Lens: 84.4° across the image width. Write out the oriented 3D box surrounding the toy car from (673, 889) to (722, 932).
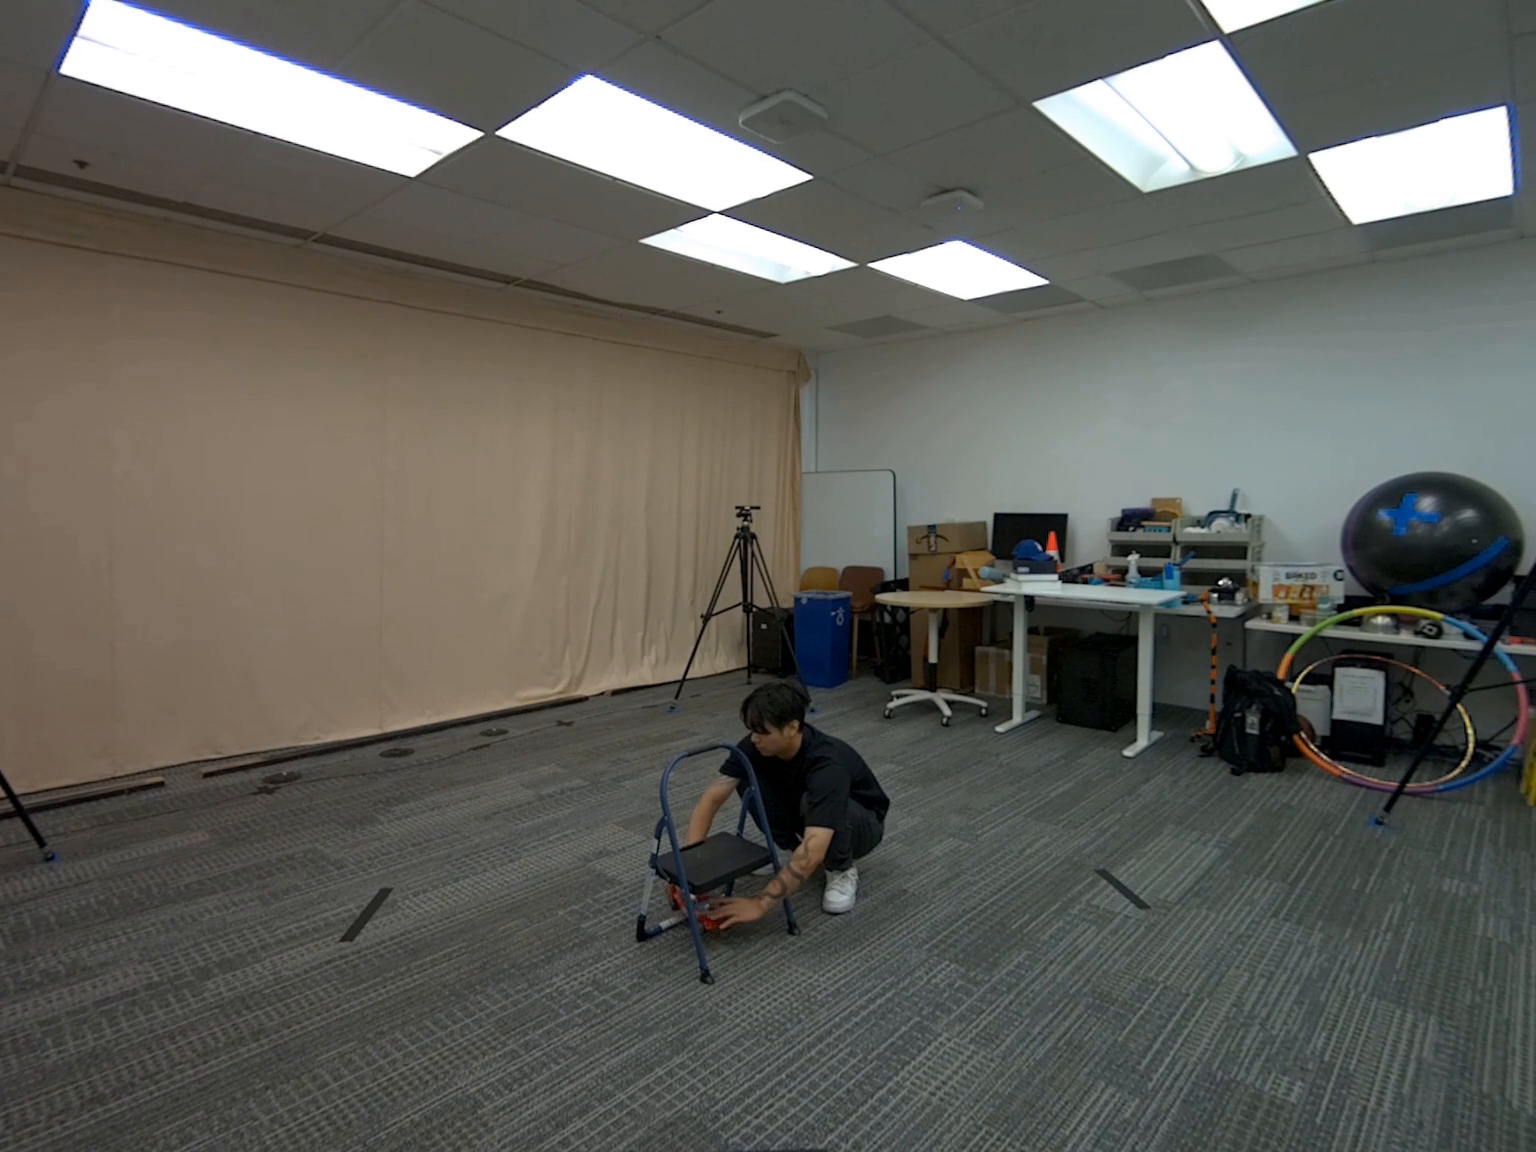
[{"bbox_3d":[-0.242,1.096,2.803,0.126,0.082,0.264,-6,23,-38],"label":"toy car"}]
